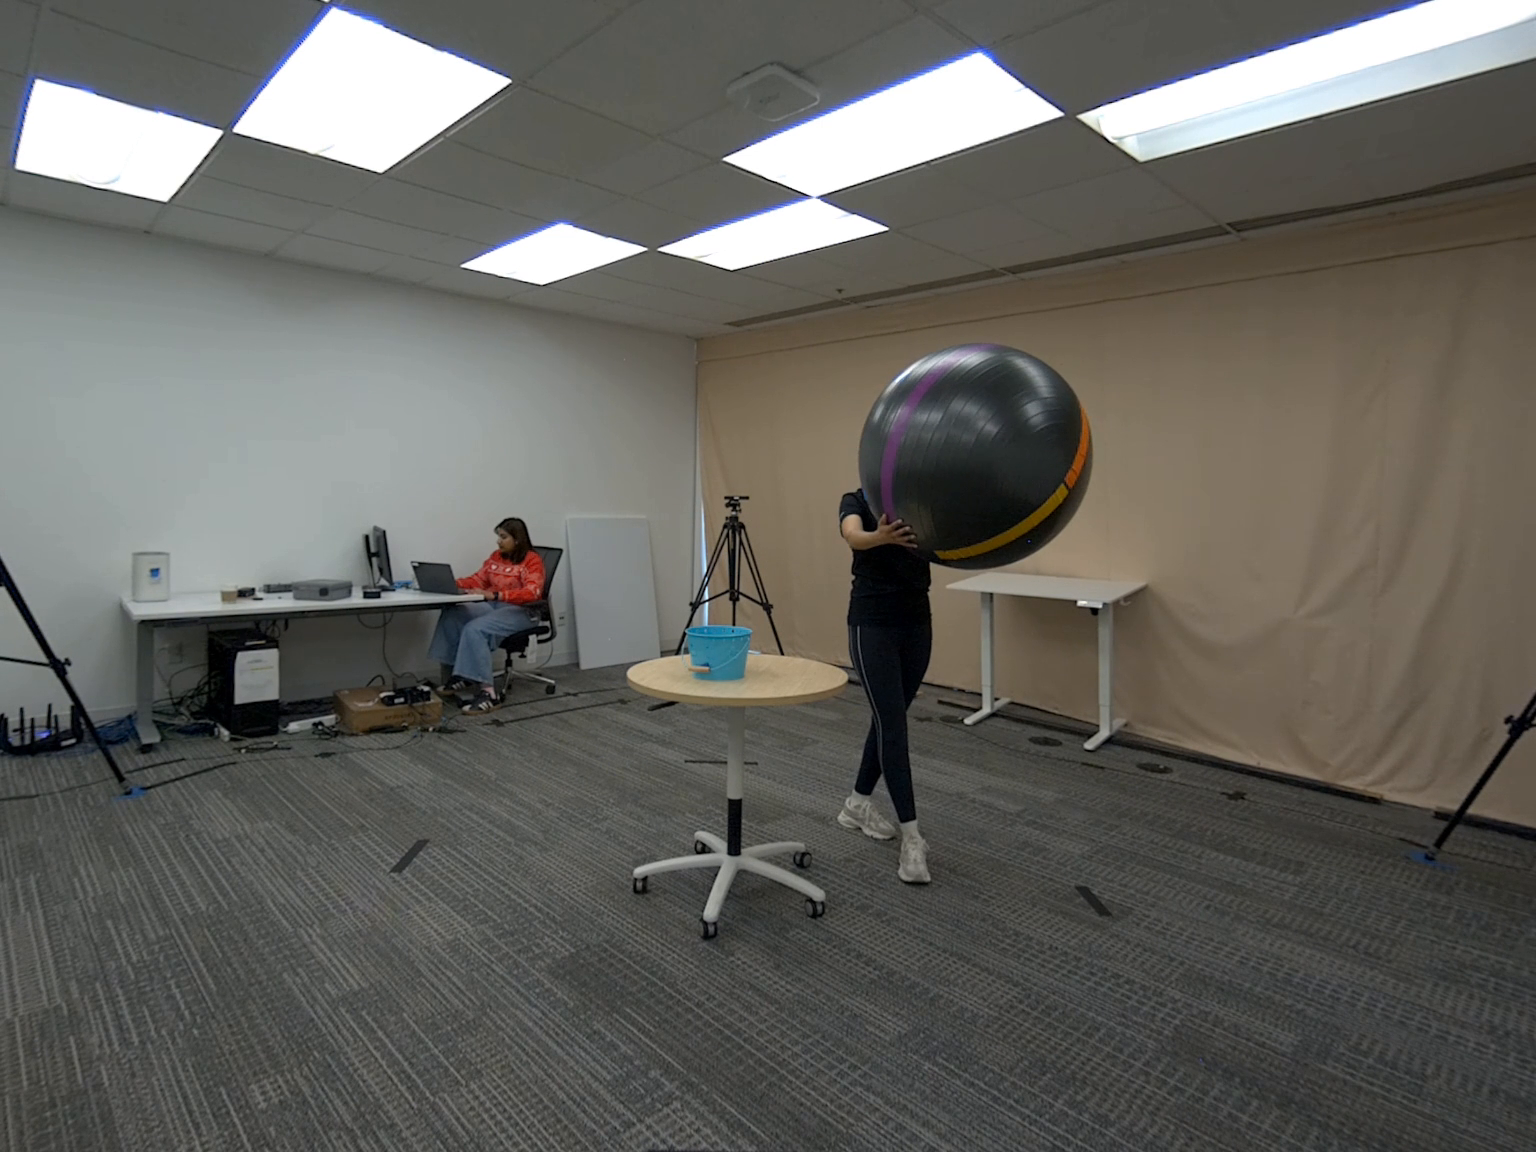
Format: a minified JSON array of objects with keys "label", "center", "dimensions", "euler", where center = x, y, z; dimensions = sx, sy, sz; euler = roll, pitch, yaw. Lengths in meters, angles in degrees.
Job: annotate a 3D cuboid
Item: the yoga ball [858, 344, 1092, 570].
[{"label":"yoga ball","center":[0.690,-0.389,2.835],"dimensions":[0.757,0.756,0.761],"euler":[1,4,-1]}]
